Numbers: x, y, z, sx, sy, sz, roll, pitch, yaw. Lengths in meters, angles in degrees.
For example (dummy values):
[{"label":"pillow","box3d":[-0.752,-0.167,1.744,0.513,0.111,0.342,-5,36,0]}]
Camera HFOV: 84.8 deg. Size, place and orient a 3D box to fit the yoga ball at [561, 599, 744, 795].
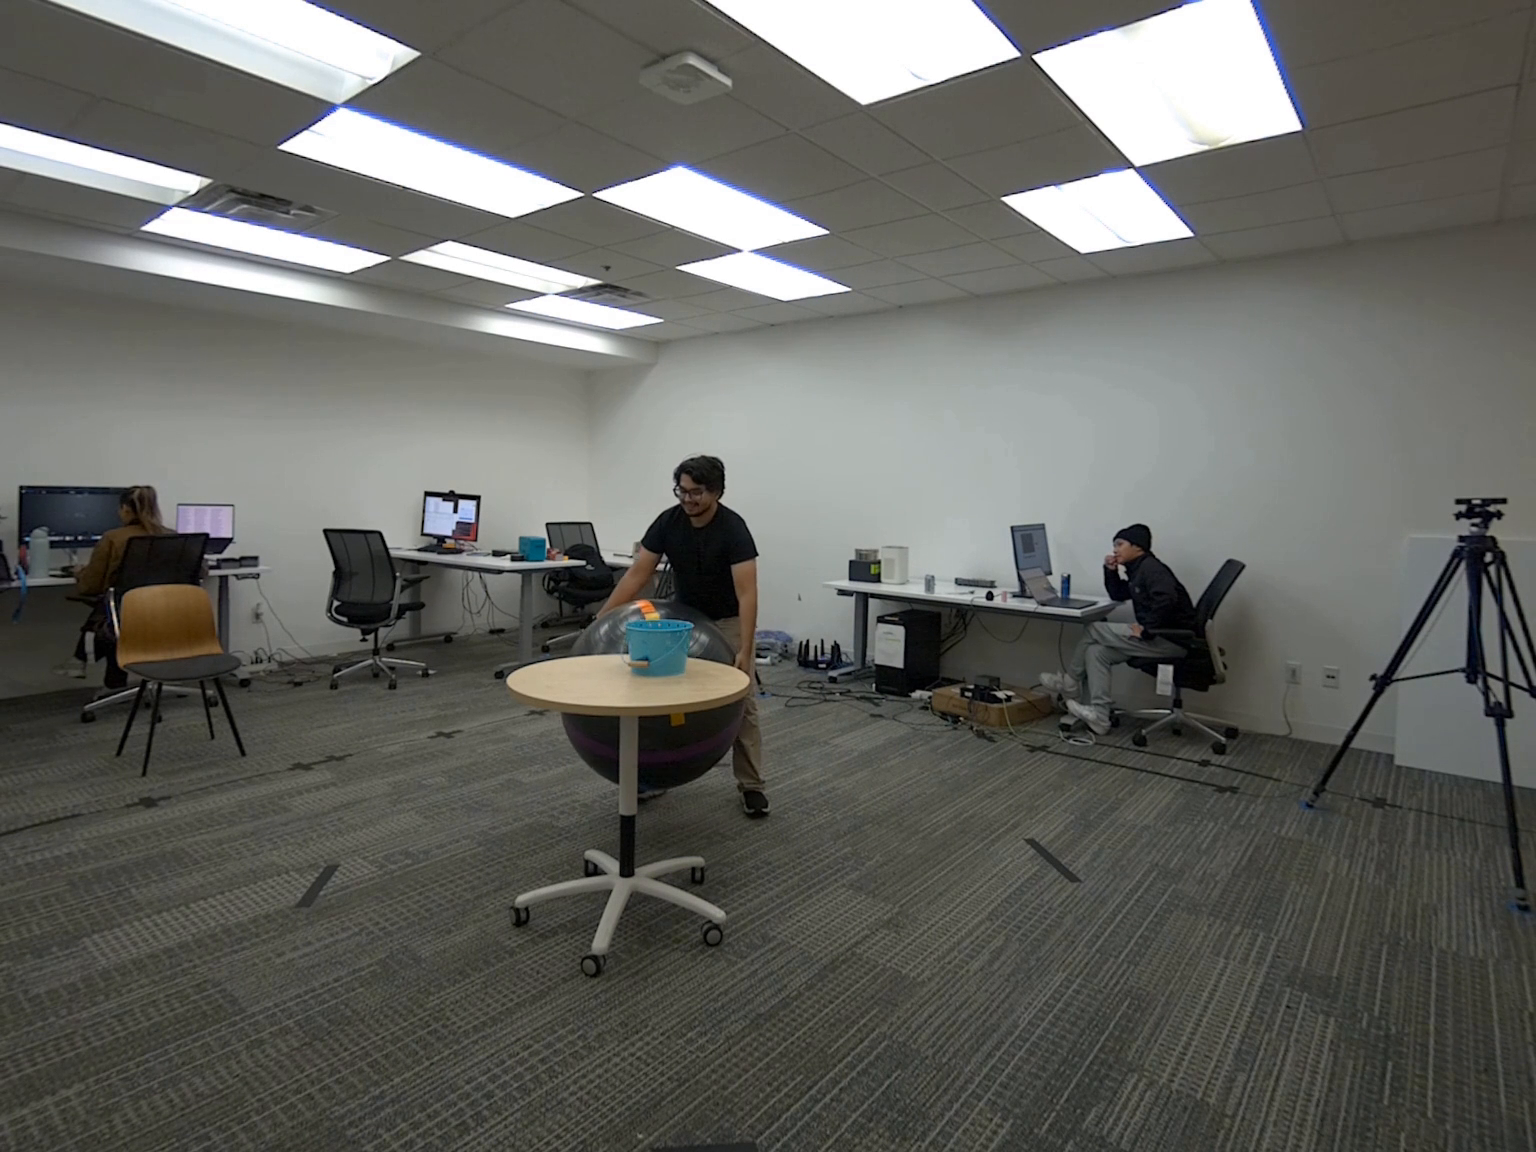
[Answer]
[{"label":"yoga ball","box3d":[-0.482,0.478,3.462,0.757,0.755,0.762,1,4,-2]}]
